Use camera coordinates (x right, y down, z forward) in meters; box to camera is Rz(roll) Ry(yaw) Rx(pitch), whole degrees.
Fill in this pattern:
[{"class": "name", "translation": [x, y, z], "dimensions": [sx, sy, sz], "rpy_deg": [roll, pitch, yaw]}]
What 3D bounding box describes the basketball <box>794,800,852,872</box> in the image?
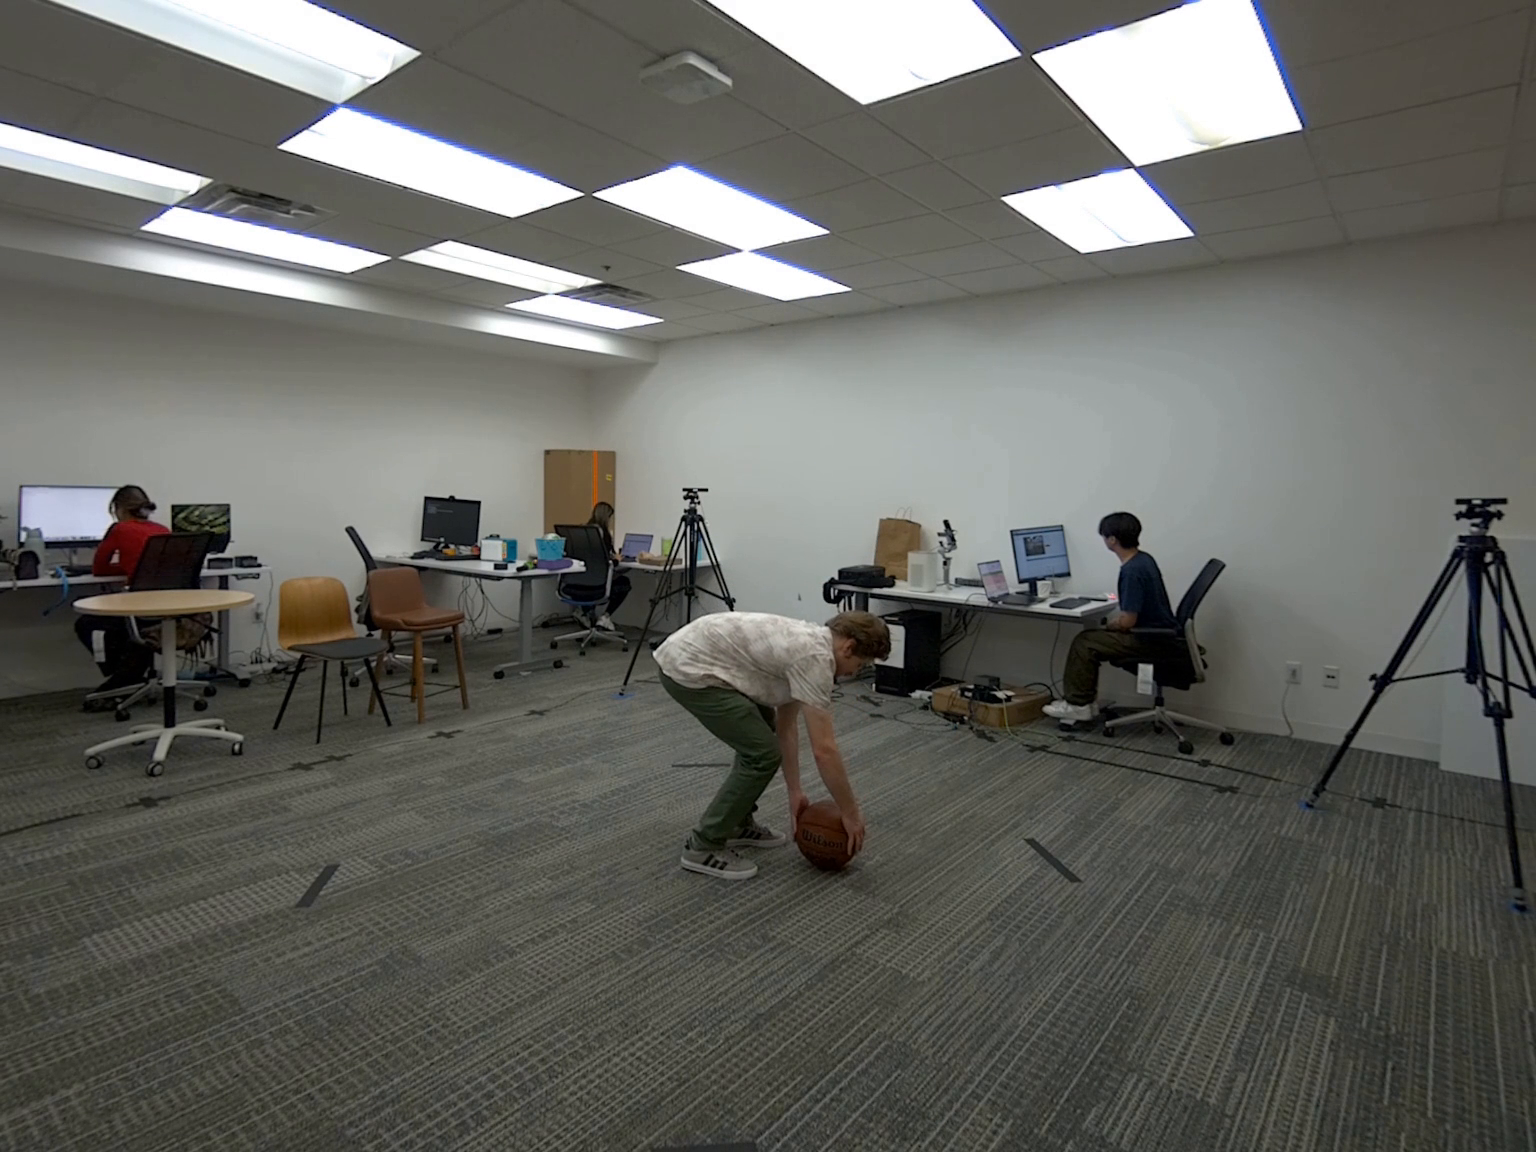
[{"class": "basketball", "translation": [0.216, 0.954, 3.157], "dimensions": [0.236, 0.235, 0.237], "rpy_deg": [1, 4, -2]}]
